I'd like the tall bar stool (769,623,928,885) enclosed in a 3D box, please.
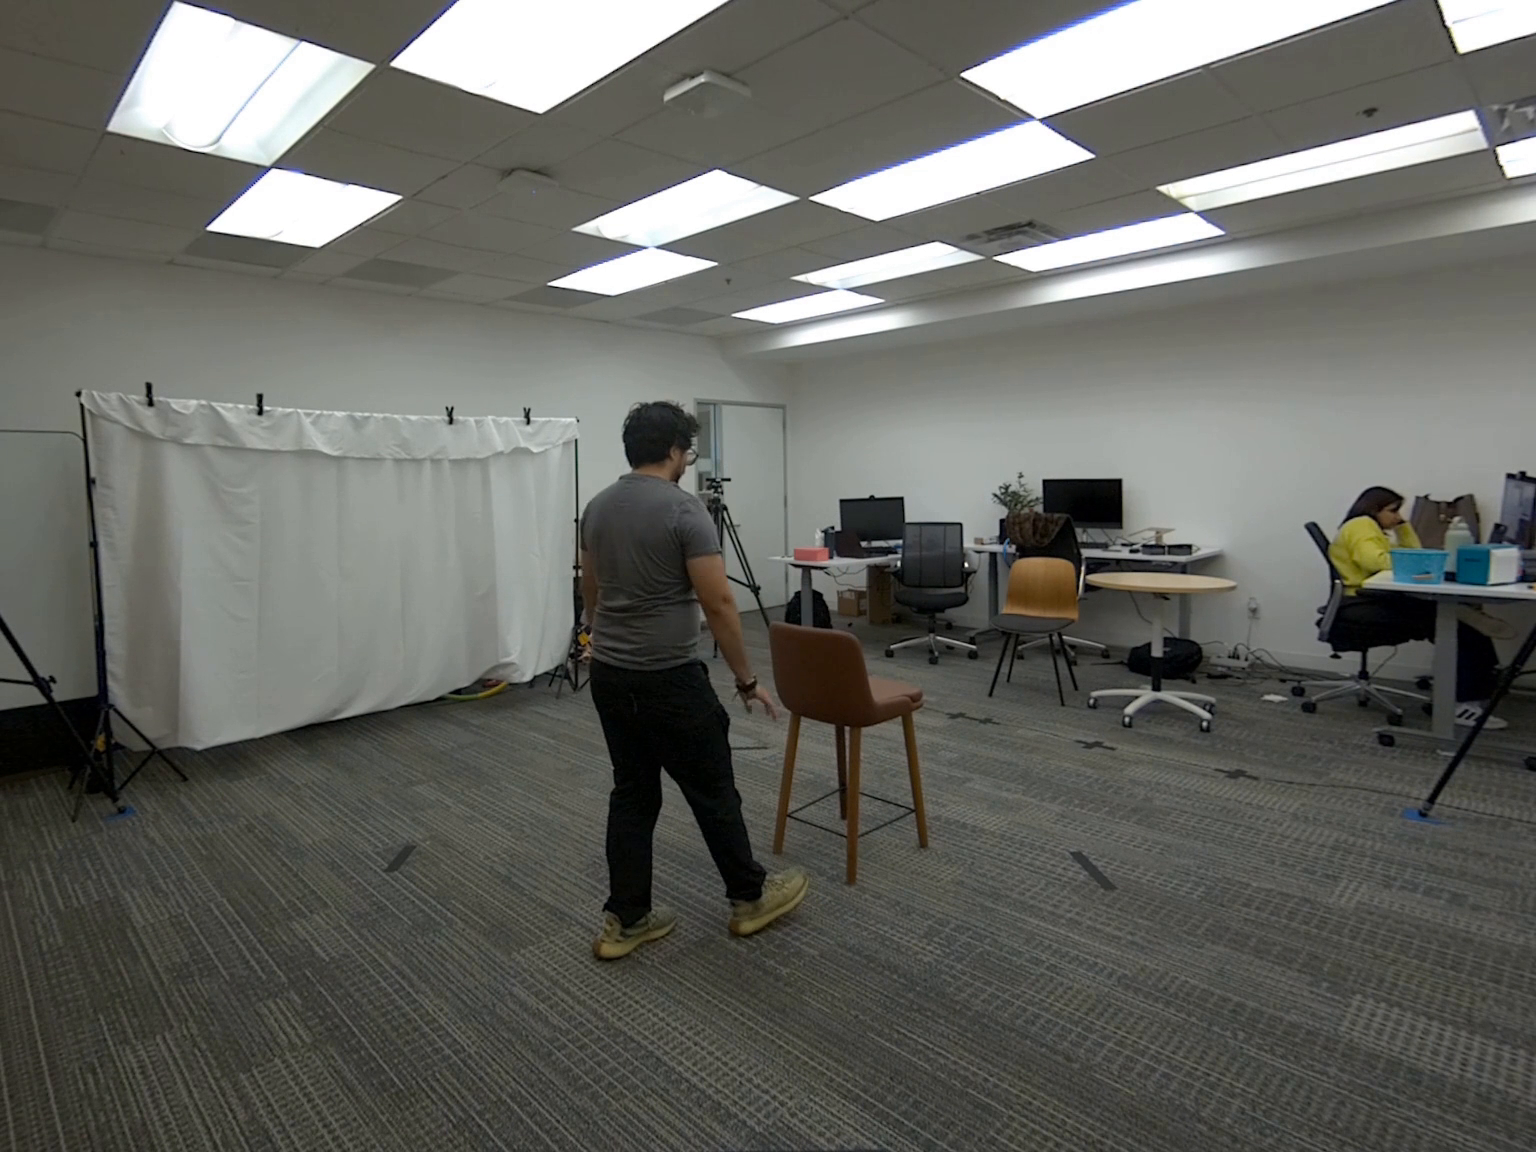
[{"bbox_3d":[0.295,0.592,3.179,0.456,0.885,0.470,-7,8,-44],"label":"tall bar stool"}]
